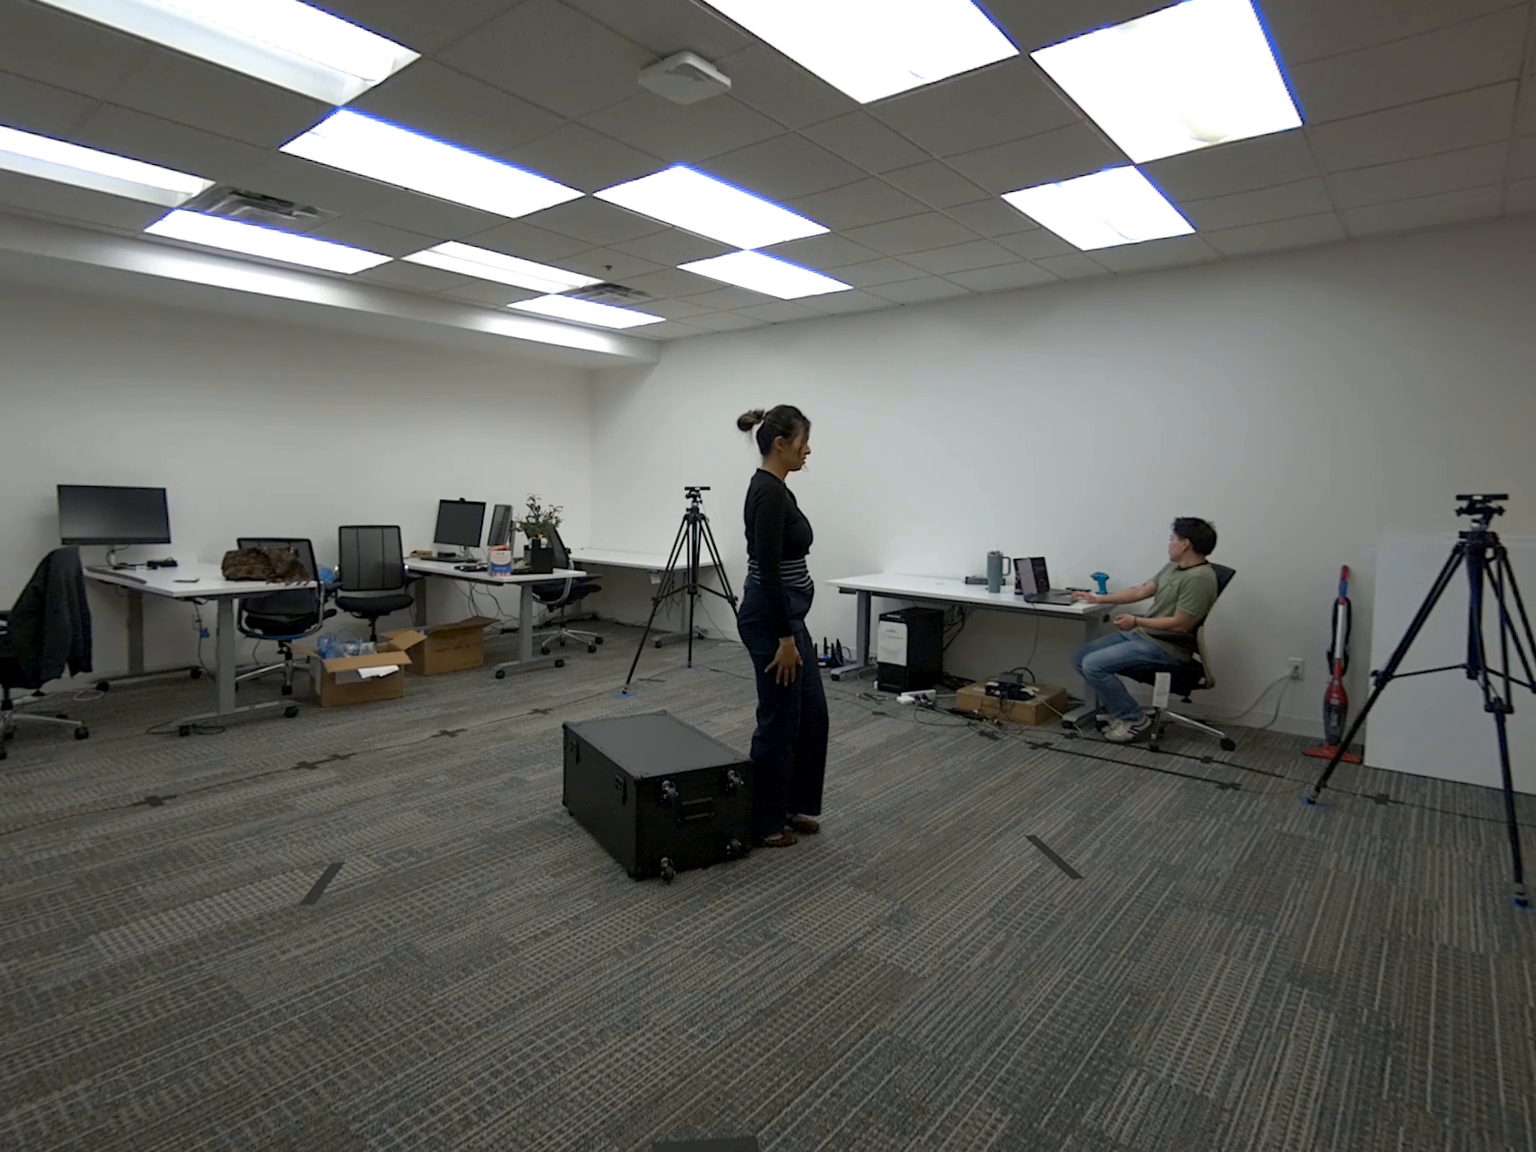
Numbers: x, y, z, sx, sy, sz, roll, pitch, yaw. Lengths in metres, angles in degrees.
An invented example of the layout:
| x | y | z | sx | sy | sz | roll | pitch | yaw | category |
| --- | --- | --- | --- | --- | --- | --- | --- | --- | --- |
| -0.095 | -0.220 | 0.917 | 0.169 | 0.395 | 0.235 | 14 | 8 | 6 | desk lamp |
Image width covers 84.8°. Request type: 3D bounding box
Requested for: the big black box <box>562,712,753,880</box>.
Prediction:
| x | y | z | sx | sy | sz | roll | pitch | yaw | category |
| --- | --- | --- | --- | --- | --- | --- | --- | --- | --- |
| -0.496 | 0.837 | 3.437 | 0.507 | 0.395 | 0.889 | -2 | 6 | -32 | big black box |
